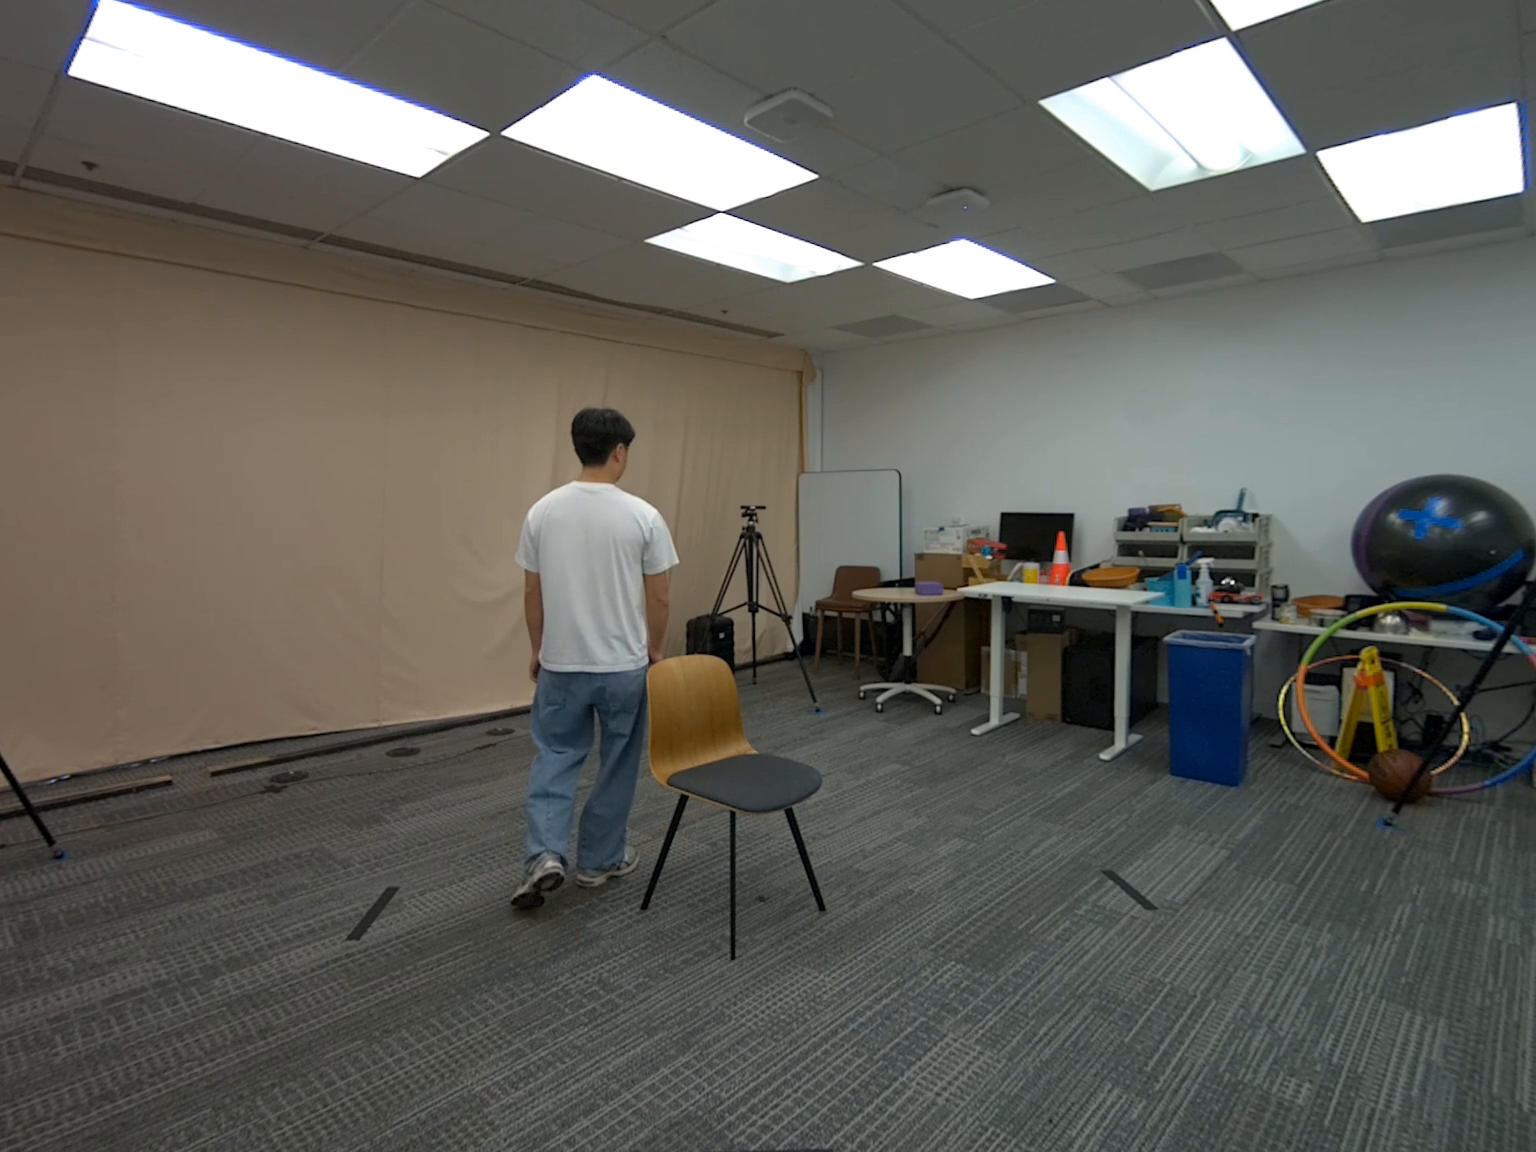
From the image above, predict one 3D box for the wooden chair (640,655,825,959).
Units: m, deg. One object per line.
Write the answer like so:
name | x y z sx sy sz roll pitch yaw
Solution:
wooden chair | -0.113 0.730 2.857 0.539 0.877 0.463 -3 1 45
